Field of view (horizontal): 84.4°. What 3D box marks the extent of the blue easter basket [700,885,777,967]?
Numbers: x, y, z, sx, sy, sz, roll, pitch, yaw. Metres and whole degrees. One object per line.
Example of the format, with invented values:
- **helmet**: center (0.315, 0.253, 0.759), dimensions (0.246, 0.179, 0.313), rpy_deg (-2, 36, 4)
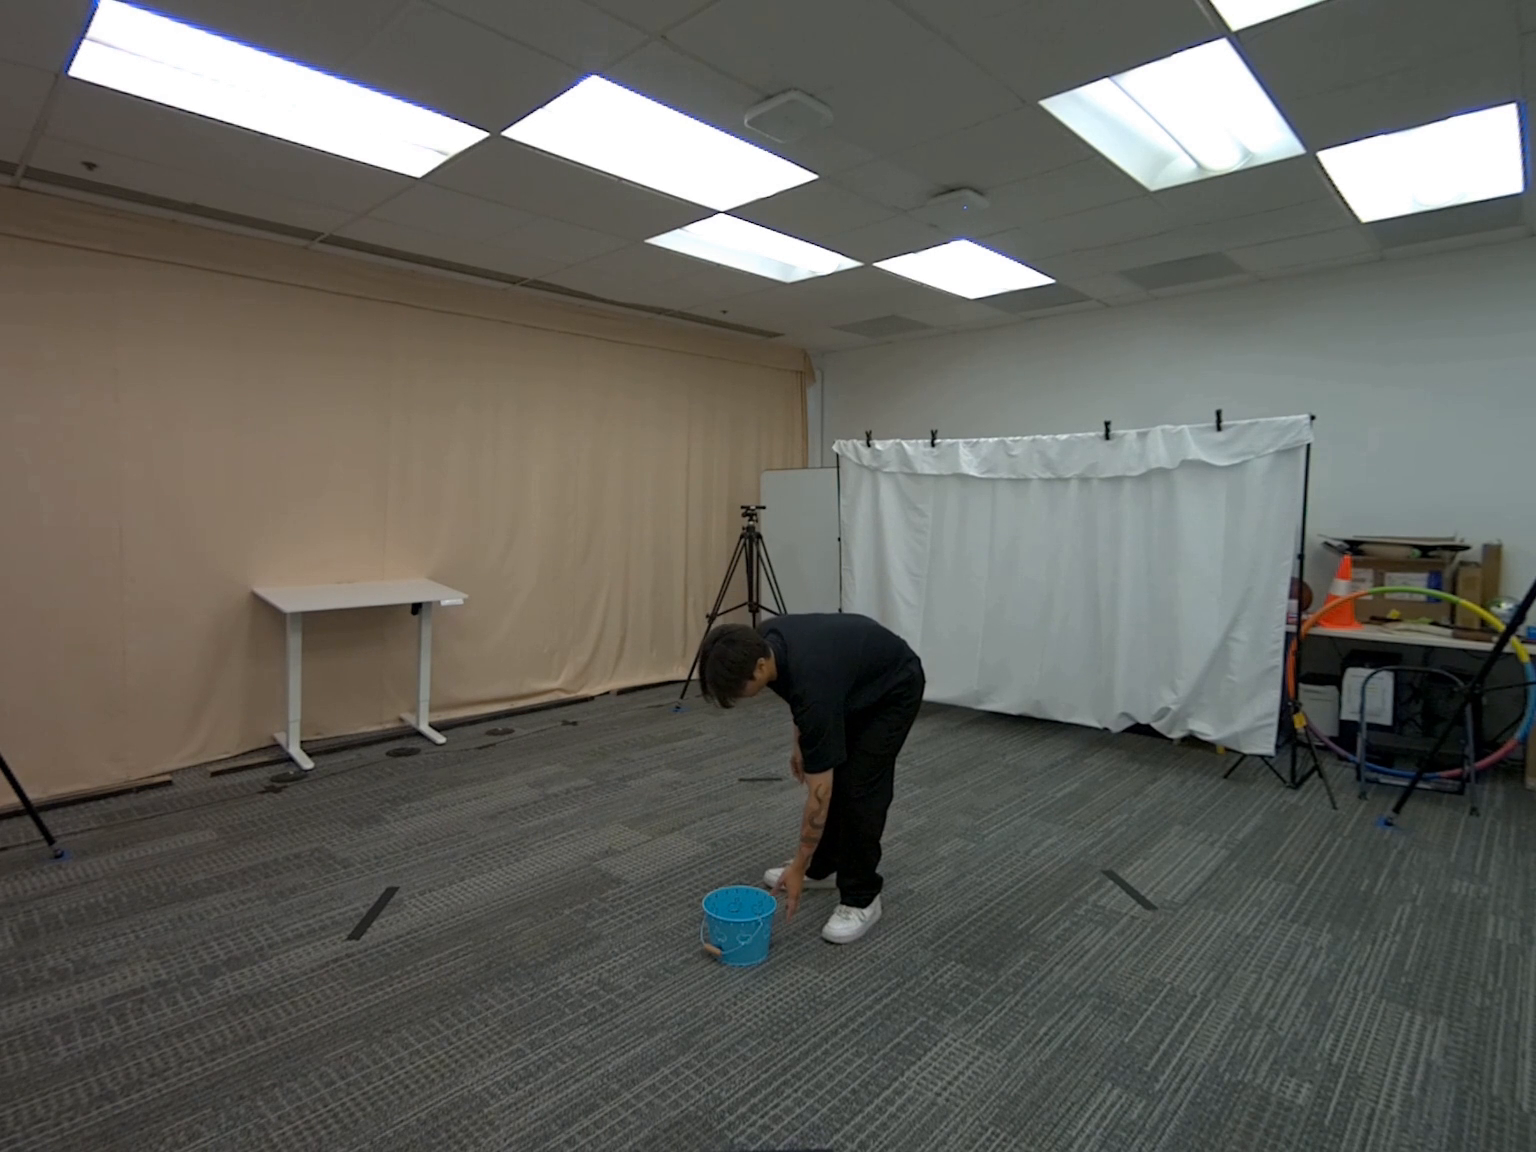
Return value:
- **blue easter basket**: center (-0.093, 1.099, 2.631), dimensions (0.243, 0.155, 0.244), rpy_deg (-1, 3, -2)
